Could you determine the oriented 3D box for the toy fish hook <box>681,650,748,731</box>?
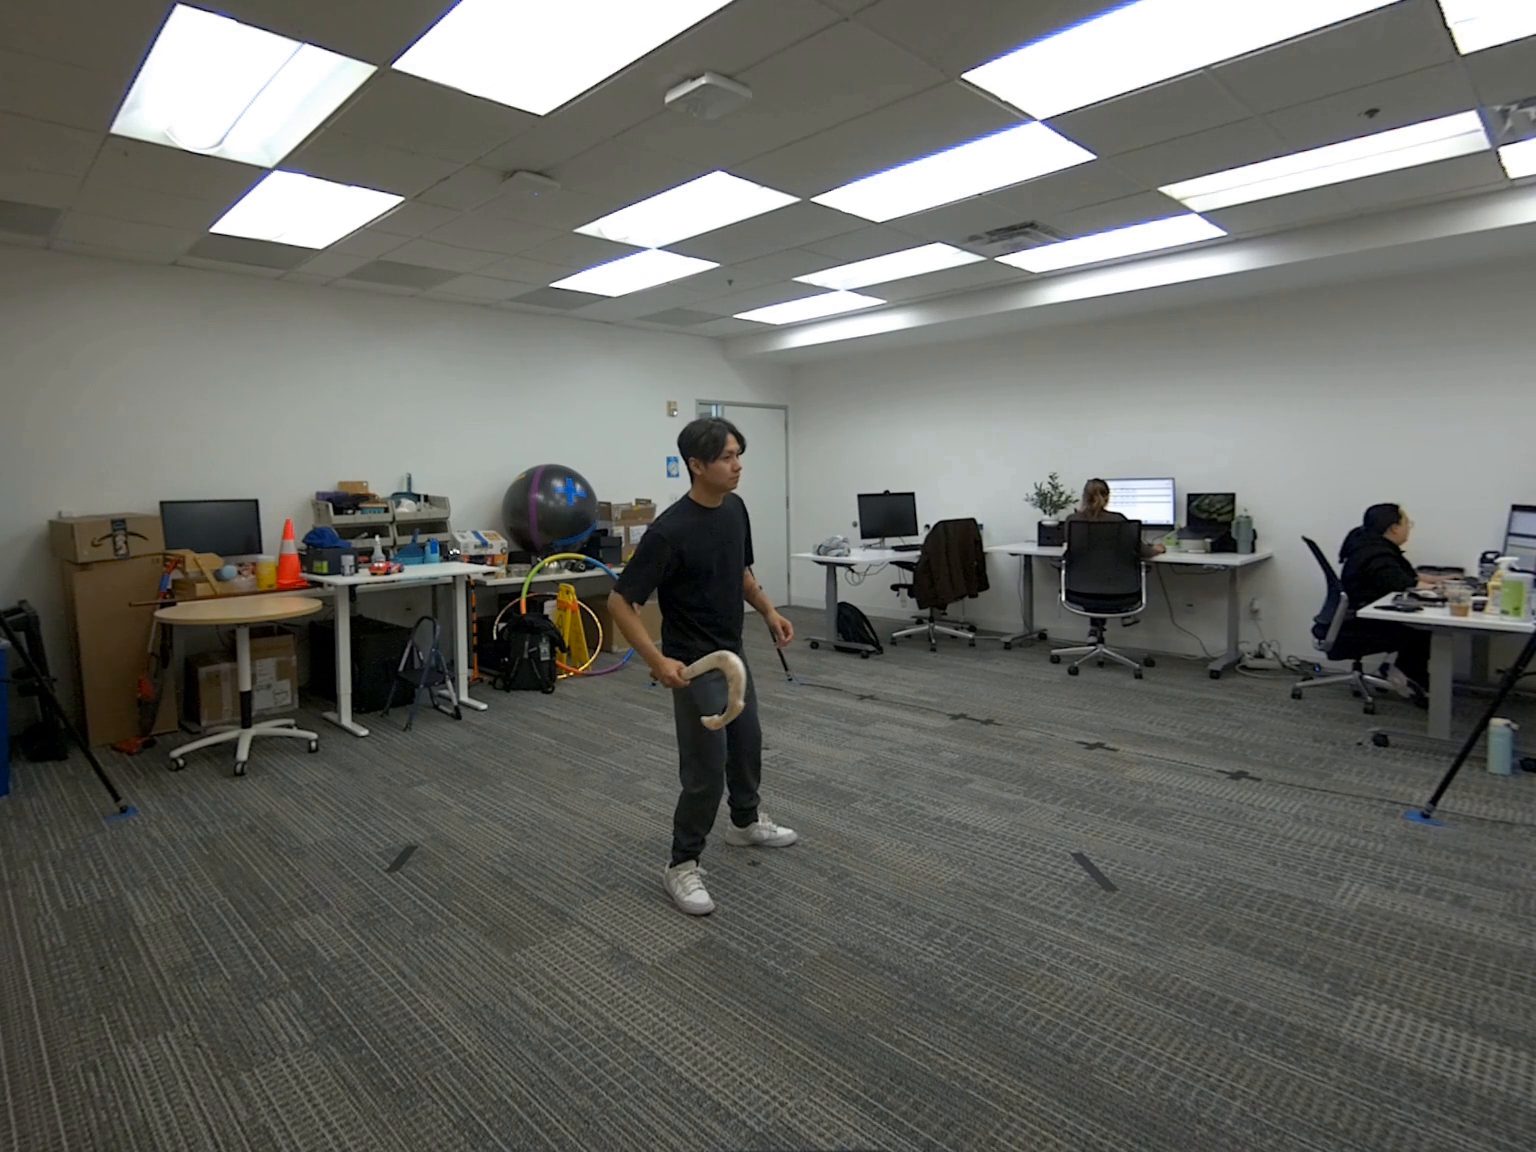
[{"bbox_3d":[-0.213,0.335,2.602,0.047,0.227,0.517,13,-14,-33],"label":"toy fish hook"}]
